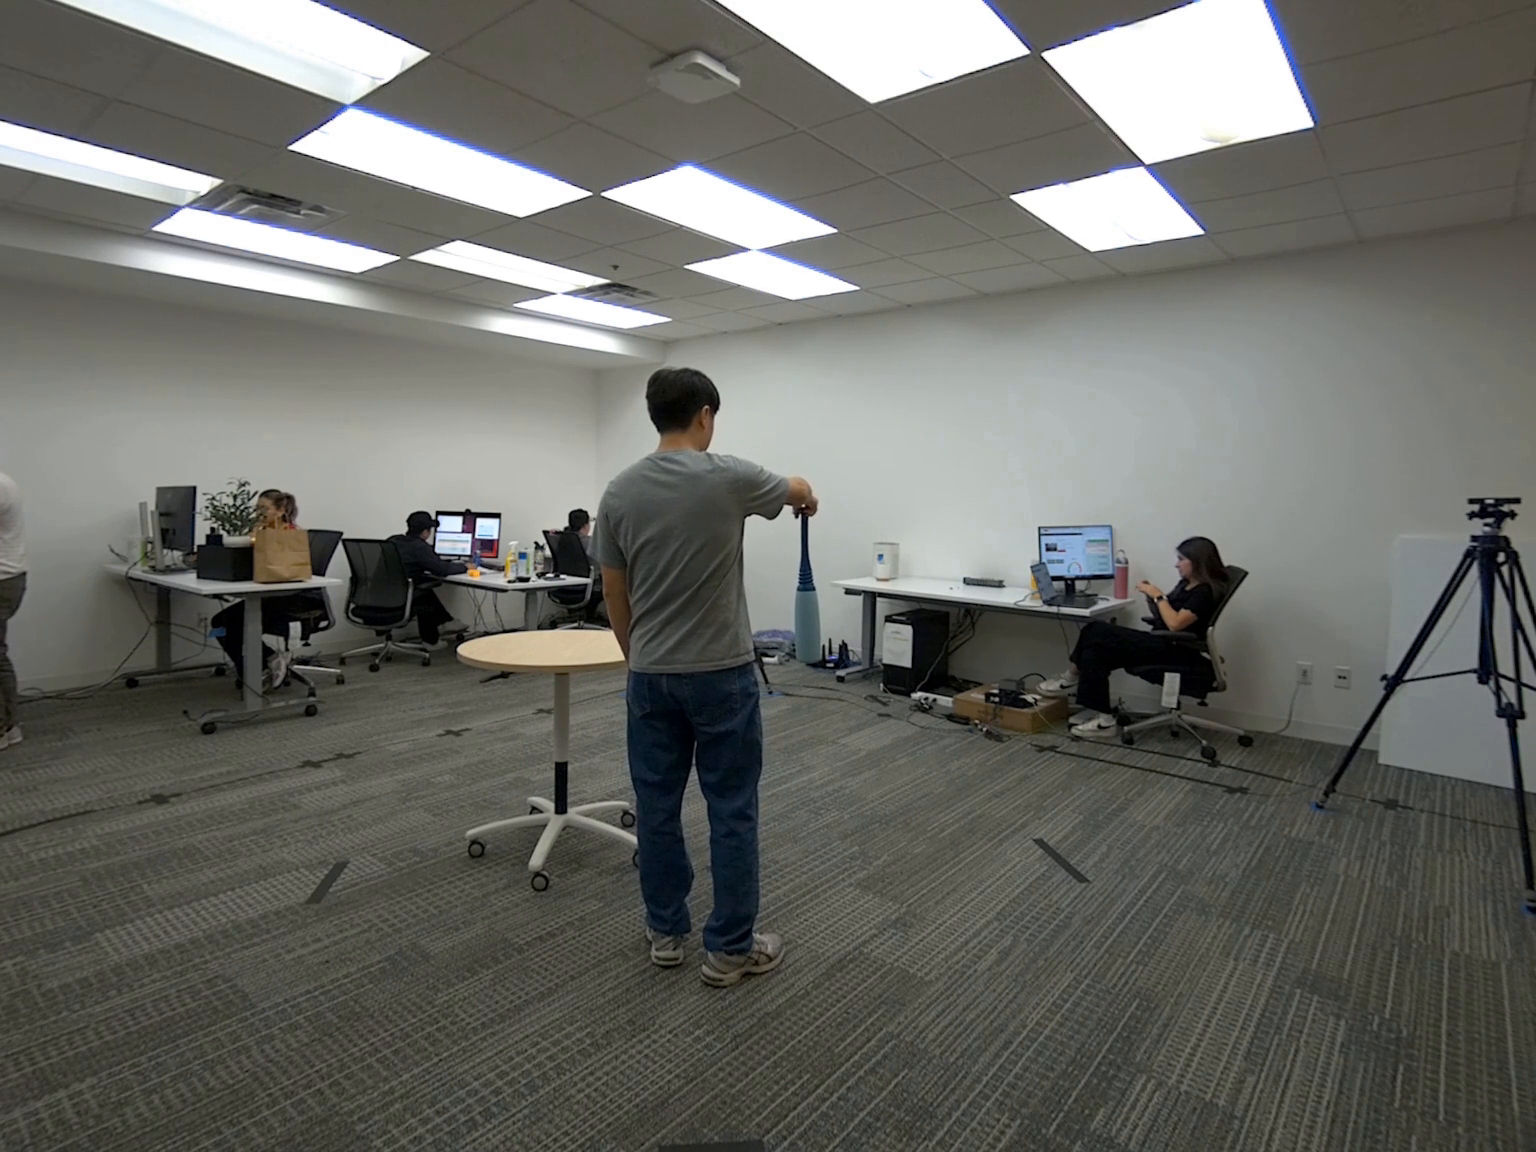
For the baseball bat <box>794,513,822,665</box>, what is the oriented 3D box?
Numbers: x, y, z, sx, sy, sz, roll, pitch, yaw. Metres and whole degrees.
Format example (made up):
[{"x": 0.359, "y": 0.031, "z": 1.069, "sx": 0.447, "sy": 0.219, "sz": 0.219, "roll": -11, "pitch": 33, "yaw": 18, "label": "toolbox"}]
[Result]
[{"x": 0.126, "y": 0.028, "z": 2.955, "sx": 0.089, "sy": 0.542, "sz": 0.089, "roll": 1, "pitch": 2, "yaw": -2, "label": "baseball bat"}]
